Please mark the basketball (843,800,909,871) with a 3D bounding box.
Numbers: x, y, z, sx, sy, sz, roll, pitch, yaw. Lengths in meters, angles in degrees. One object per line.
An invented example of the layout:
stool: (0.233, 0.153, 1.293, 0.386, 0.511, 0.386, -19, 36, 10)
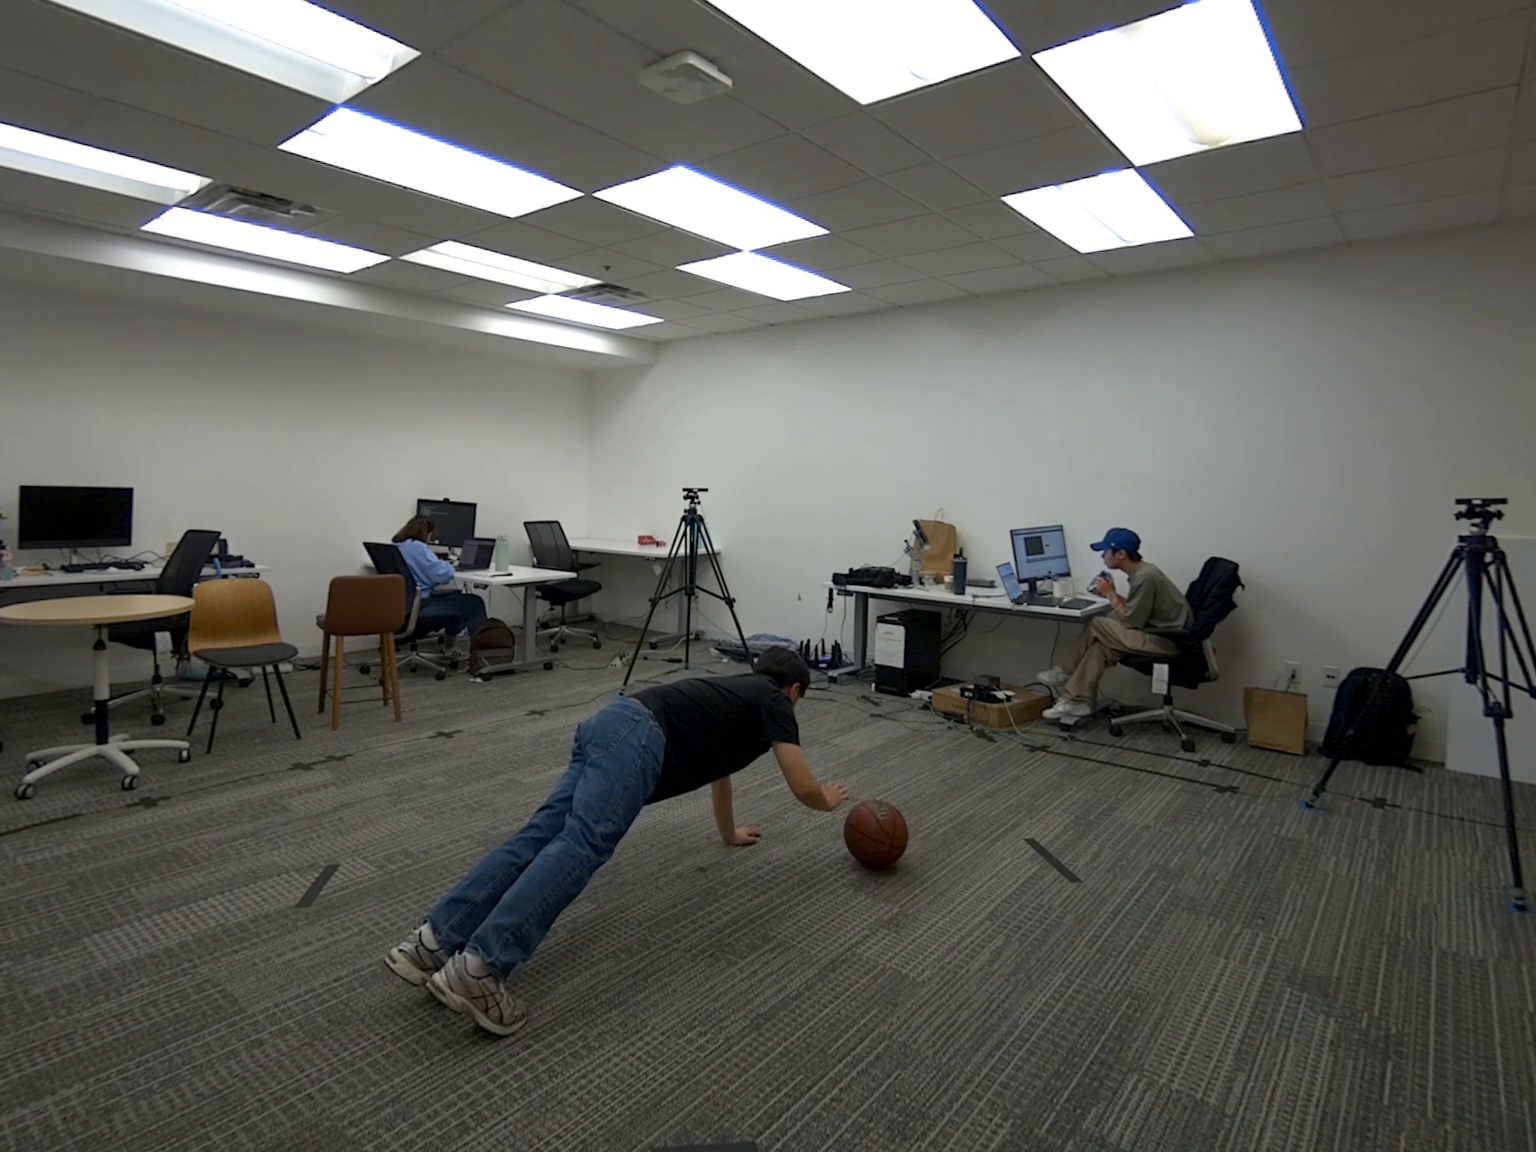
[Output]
basketball: (0.394, 0.955, 3.175, 0.235, 0.235, 0.237, 1, 4, -2)
